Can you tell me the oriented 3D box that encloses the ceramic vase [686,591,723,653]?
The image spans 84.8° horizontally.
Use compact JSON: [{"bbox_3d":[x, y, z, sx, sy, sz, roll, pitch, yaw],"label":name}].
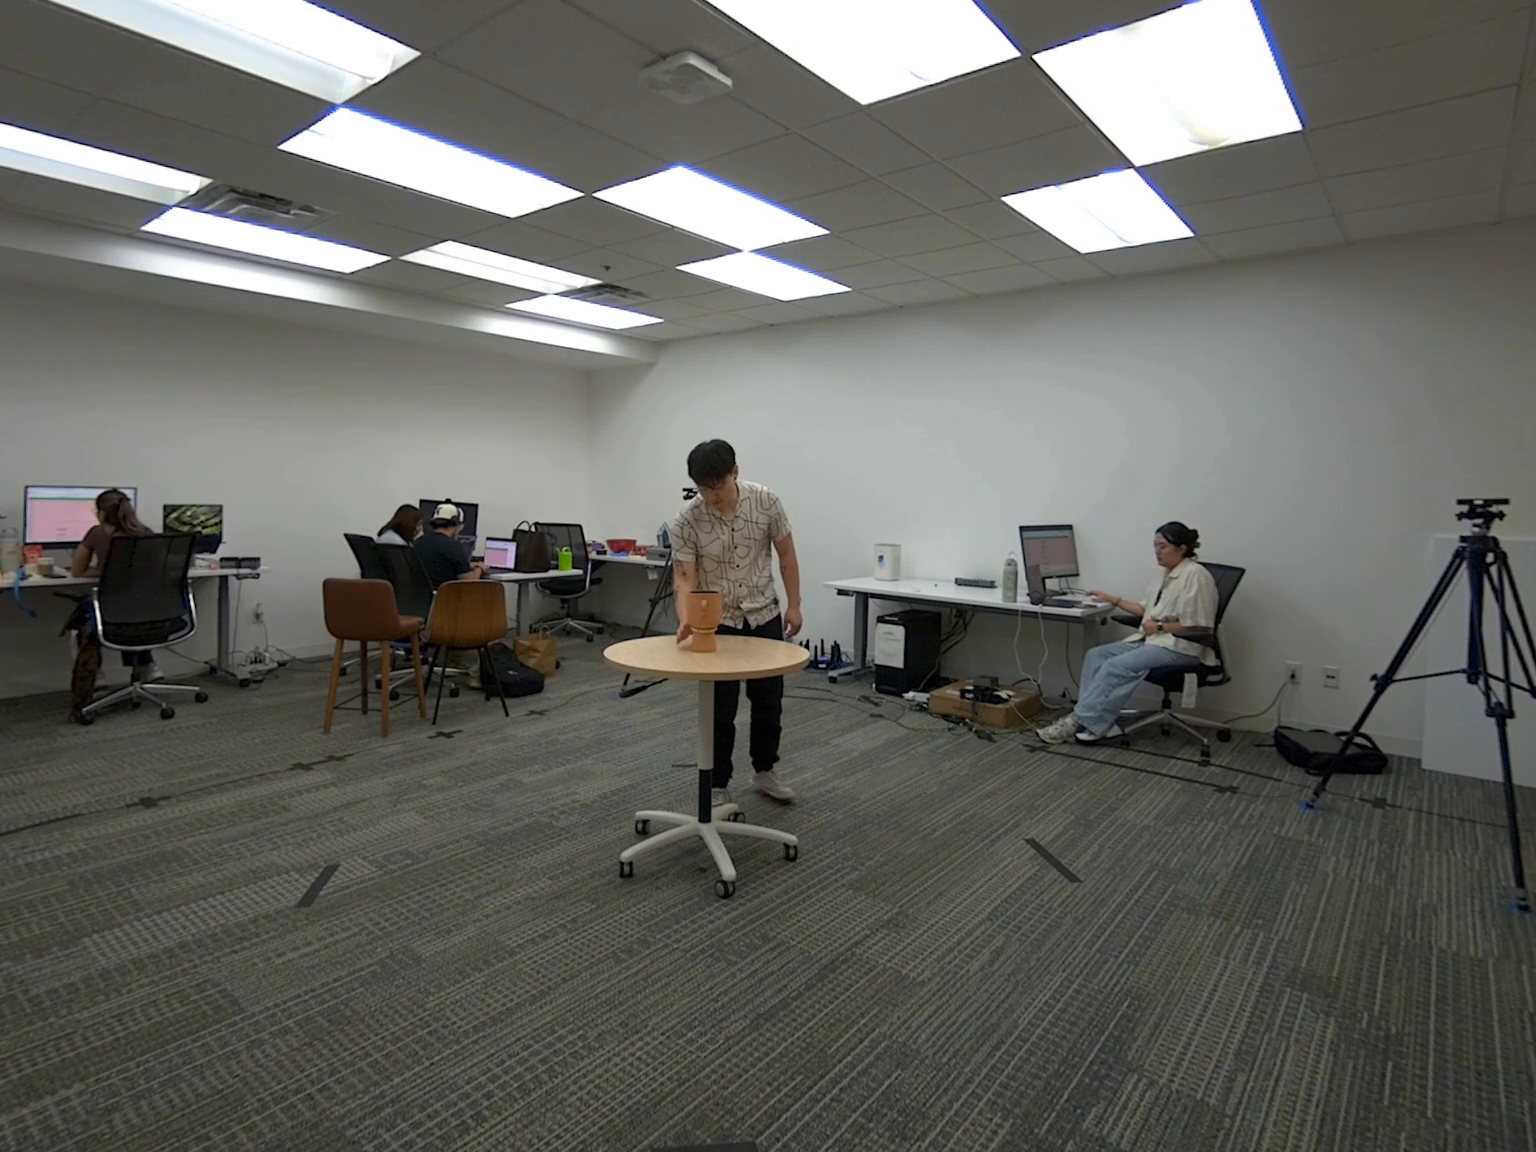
[{"bbox_3d":[-0.254,0.169,3.194,0.139,0.219,0.154,2,3,36],"label":"ceramic vase"}]
